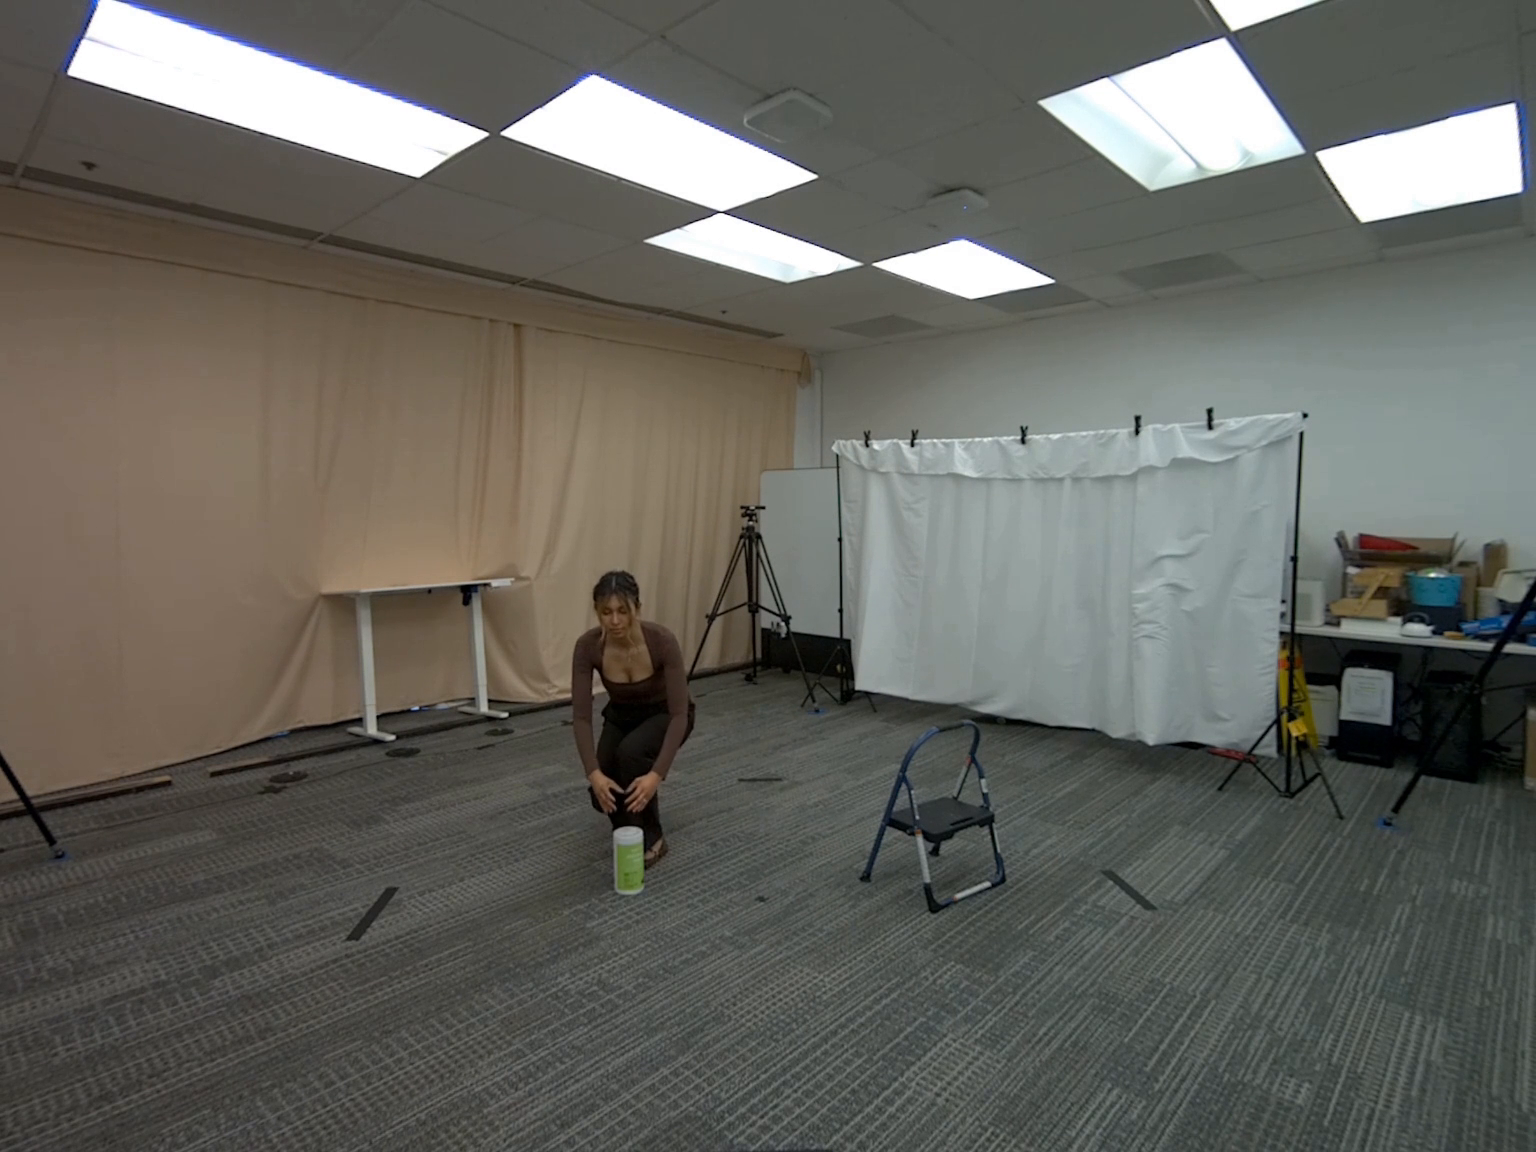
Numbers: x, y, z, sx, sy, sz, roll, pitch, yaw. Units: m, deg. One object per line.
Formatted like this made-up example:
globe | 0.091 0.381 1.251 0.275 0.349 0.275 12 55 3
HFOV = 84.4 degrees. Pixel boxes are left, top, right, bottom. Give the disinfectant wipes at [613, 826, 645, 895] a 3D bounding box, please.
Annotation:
disinfectant wipes | -0.515 1.034 3.051 0.117 0.217 0.118 2 5 -2
